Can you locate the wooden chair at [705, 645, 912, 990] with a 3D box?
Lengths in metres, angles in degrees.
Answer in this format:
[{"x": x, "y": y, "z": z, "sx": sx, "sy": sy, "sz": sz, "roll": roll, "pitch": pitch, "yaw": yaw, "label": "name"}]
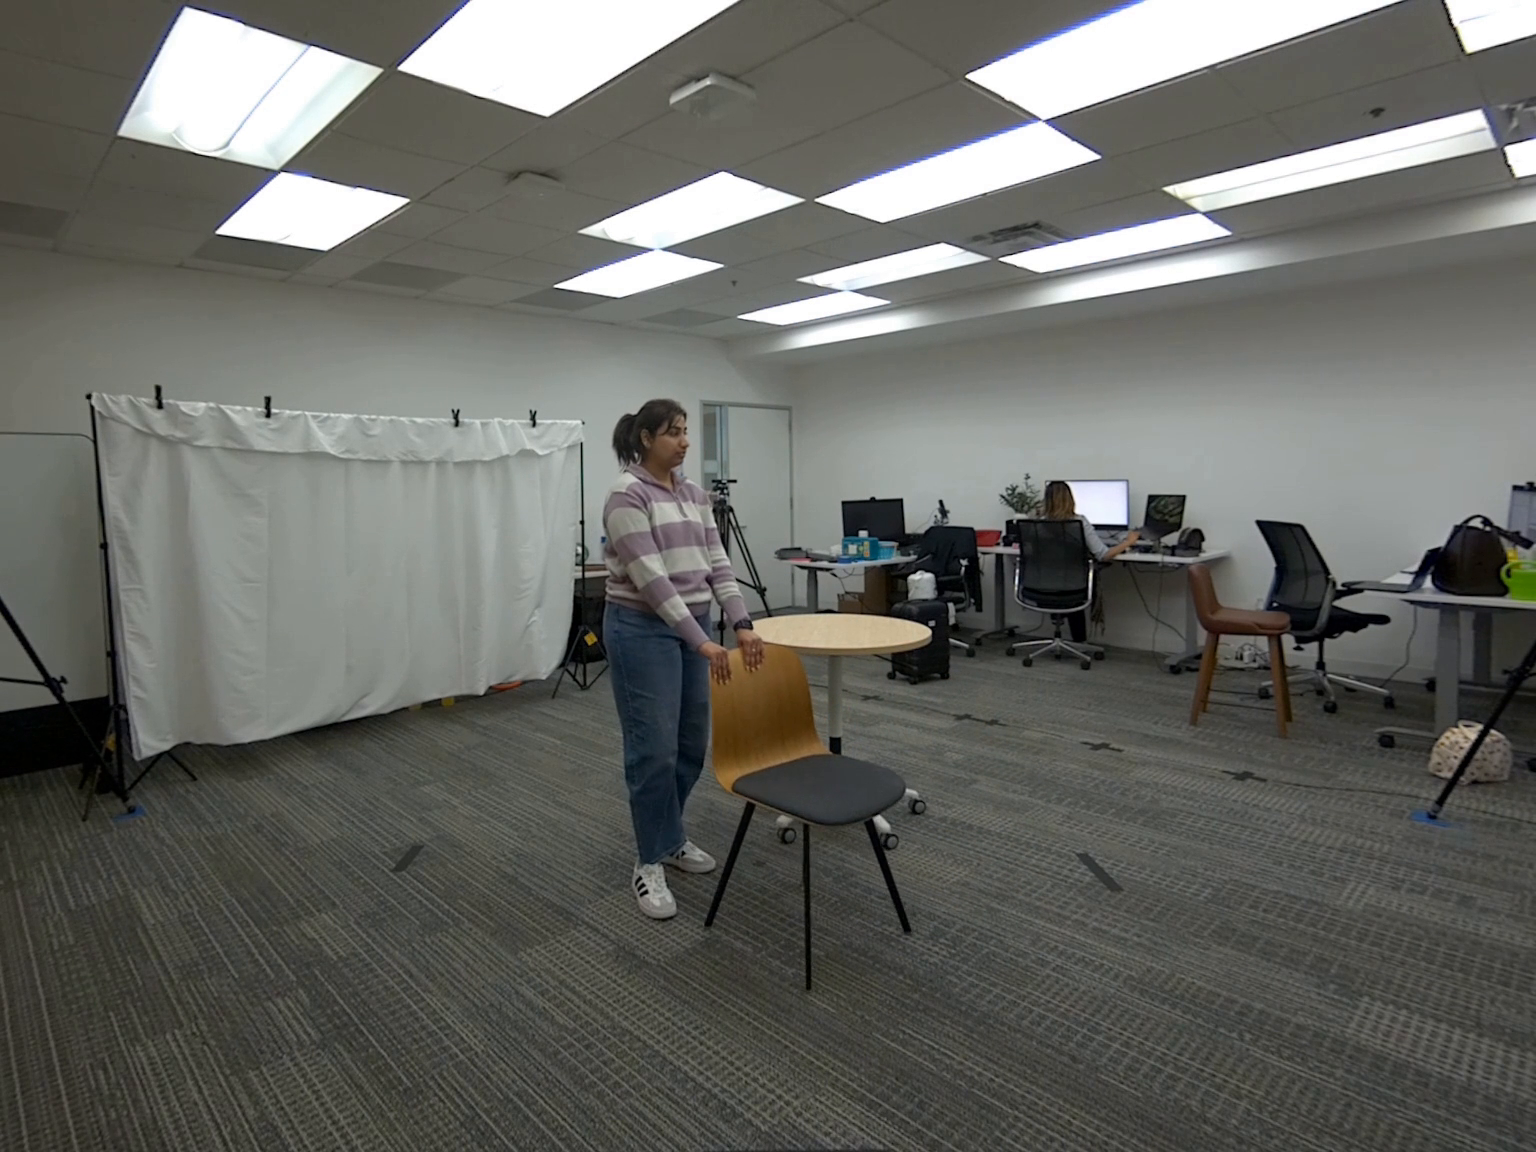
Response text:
[{"x": 0.117, "y": 0.670, "z": 2.605, "sx": 0.465, "sy": 0.878, "sz": 0.537, "roll": -4, "pitch": 0, "yaw": -42, "label": "wooden chair"}]
